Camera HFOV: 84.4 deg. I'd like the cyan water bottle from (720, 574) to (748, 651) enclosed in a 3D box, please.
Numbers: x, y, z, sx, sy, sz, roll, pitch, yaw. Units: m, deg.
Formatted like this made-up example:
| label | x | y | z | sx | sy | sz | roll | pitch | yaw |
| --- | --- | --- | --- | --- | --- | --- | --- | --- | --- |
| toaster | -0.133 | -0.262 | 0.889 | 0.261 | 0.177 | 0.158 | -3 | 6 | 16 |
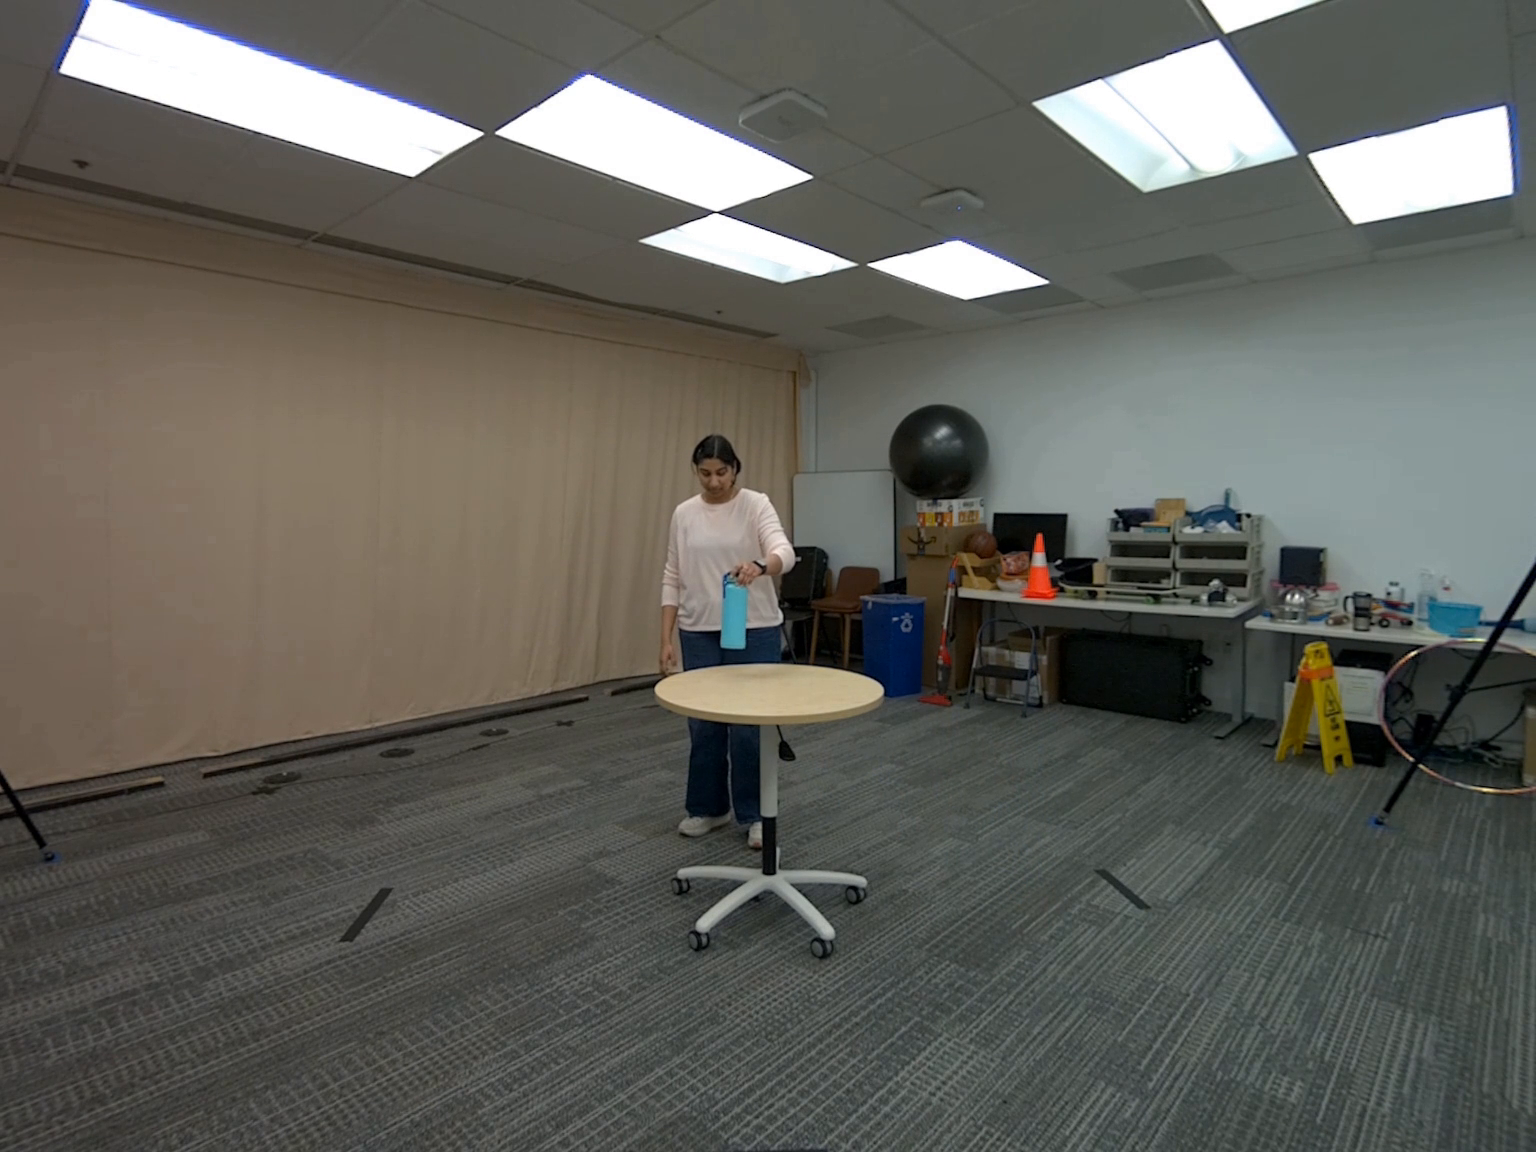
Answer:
| label | x | y | z | sx | sy | sz | roll | pitch | yaw |
| --- | --- | --- | --- | --- | --- | --- | --- | --- | --- |
| cyan water bottle | -0.126 | 0.115 | 3.032 | 0.092 | 0.284 | 0.092 | 0 | -2 | -2 |
